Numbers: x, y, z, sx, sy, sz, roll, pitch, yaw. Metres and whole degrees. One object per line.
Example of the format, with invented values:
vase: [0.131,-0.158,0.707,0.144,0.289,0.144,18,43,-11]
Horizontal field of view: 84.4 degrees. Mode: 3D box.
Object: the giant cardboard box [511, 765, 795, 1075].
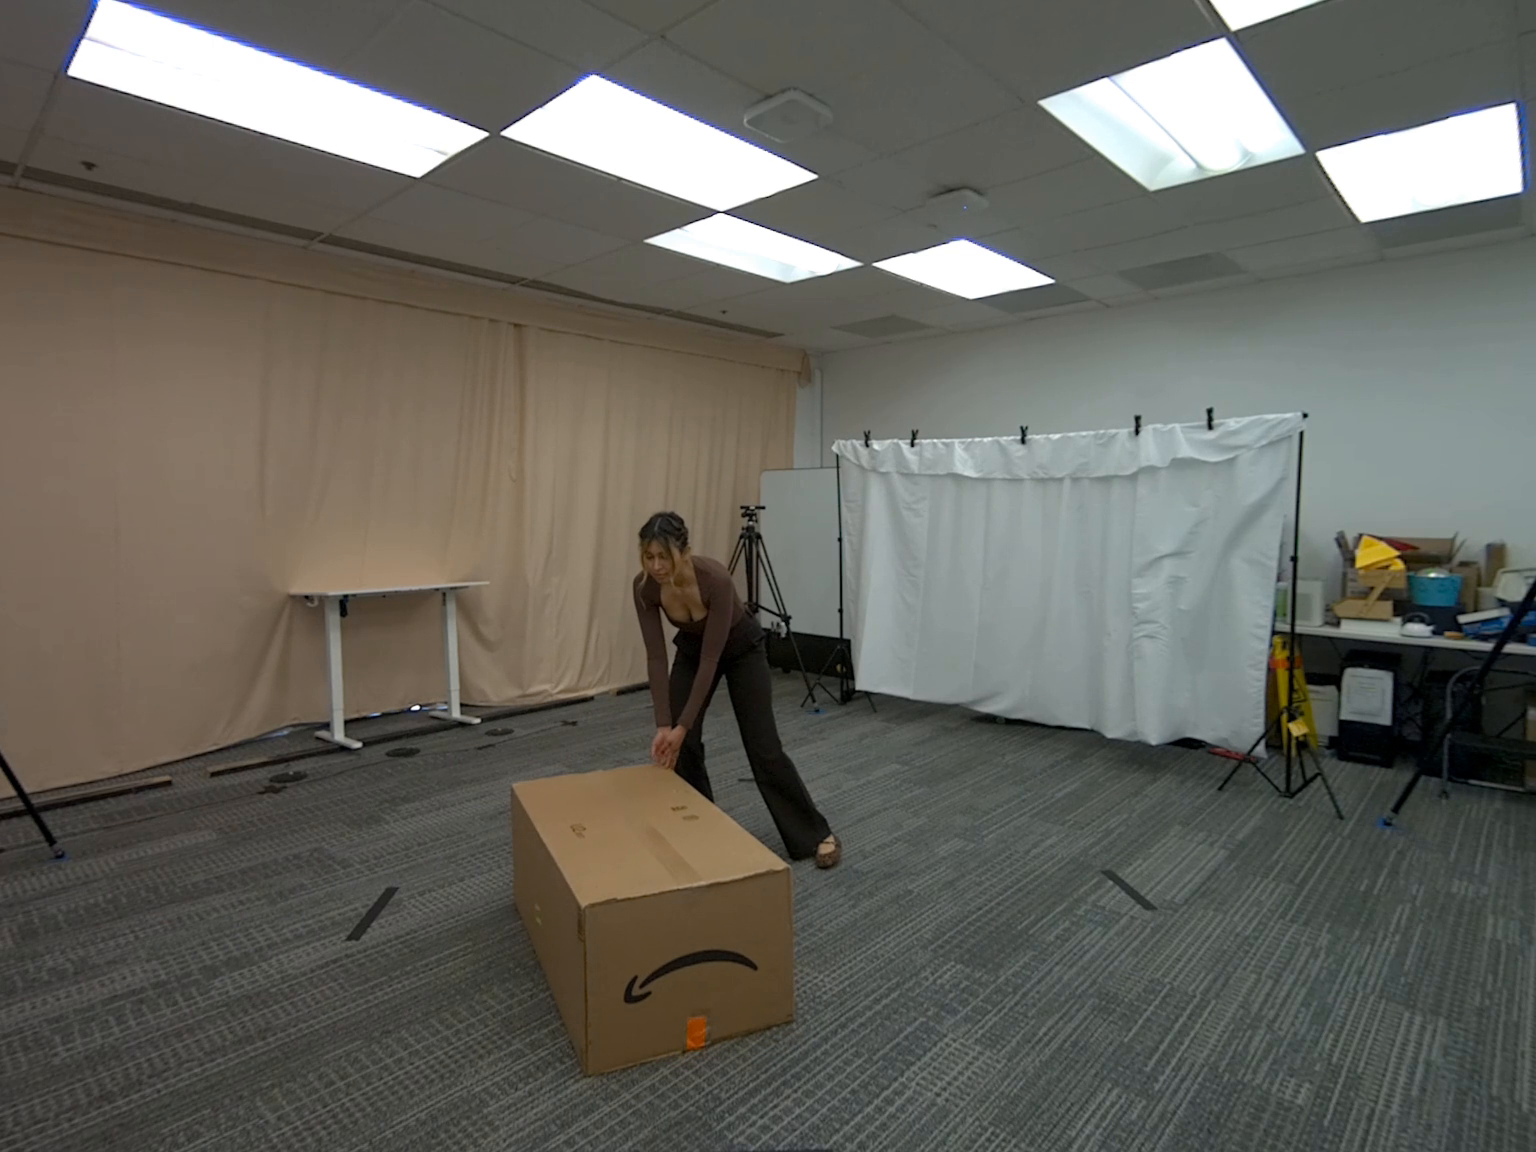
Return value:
giant cardboard box: [-0.419,0.965,2.614,0.570,0.446,1.053,-4,5,-25]
